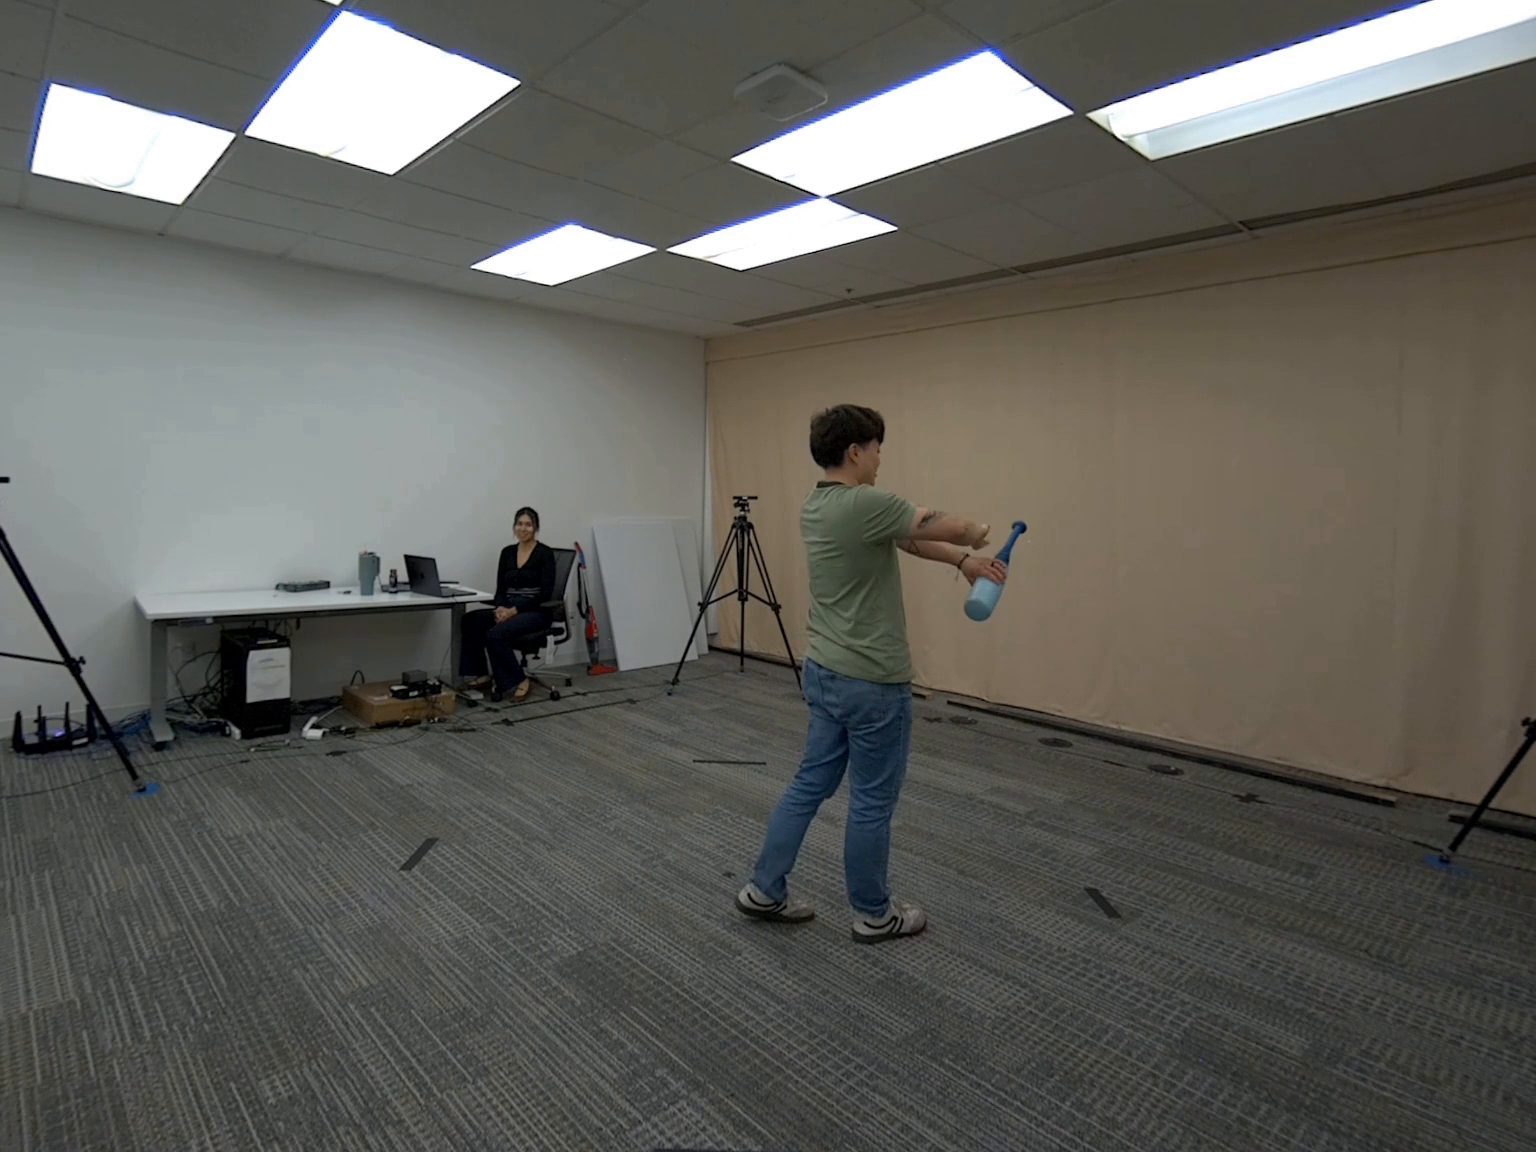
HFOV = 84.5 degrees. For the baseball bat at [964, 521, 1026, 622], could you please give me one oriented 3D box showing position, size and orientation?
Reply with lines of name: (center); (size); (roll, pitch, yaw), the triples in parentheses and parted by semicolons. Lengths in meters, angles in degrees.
baseball bat: (0.754, -0.028, 2.777); (0.091, 0.087, 0.543); (3, 34, 30)
